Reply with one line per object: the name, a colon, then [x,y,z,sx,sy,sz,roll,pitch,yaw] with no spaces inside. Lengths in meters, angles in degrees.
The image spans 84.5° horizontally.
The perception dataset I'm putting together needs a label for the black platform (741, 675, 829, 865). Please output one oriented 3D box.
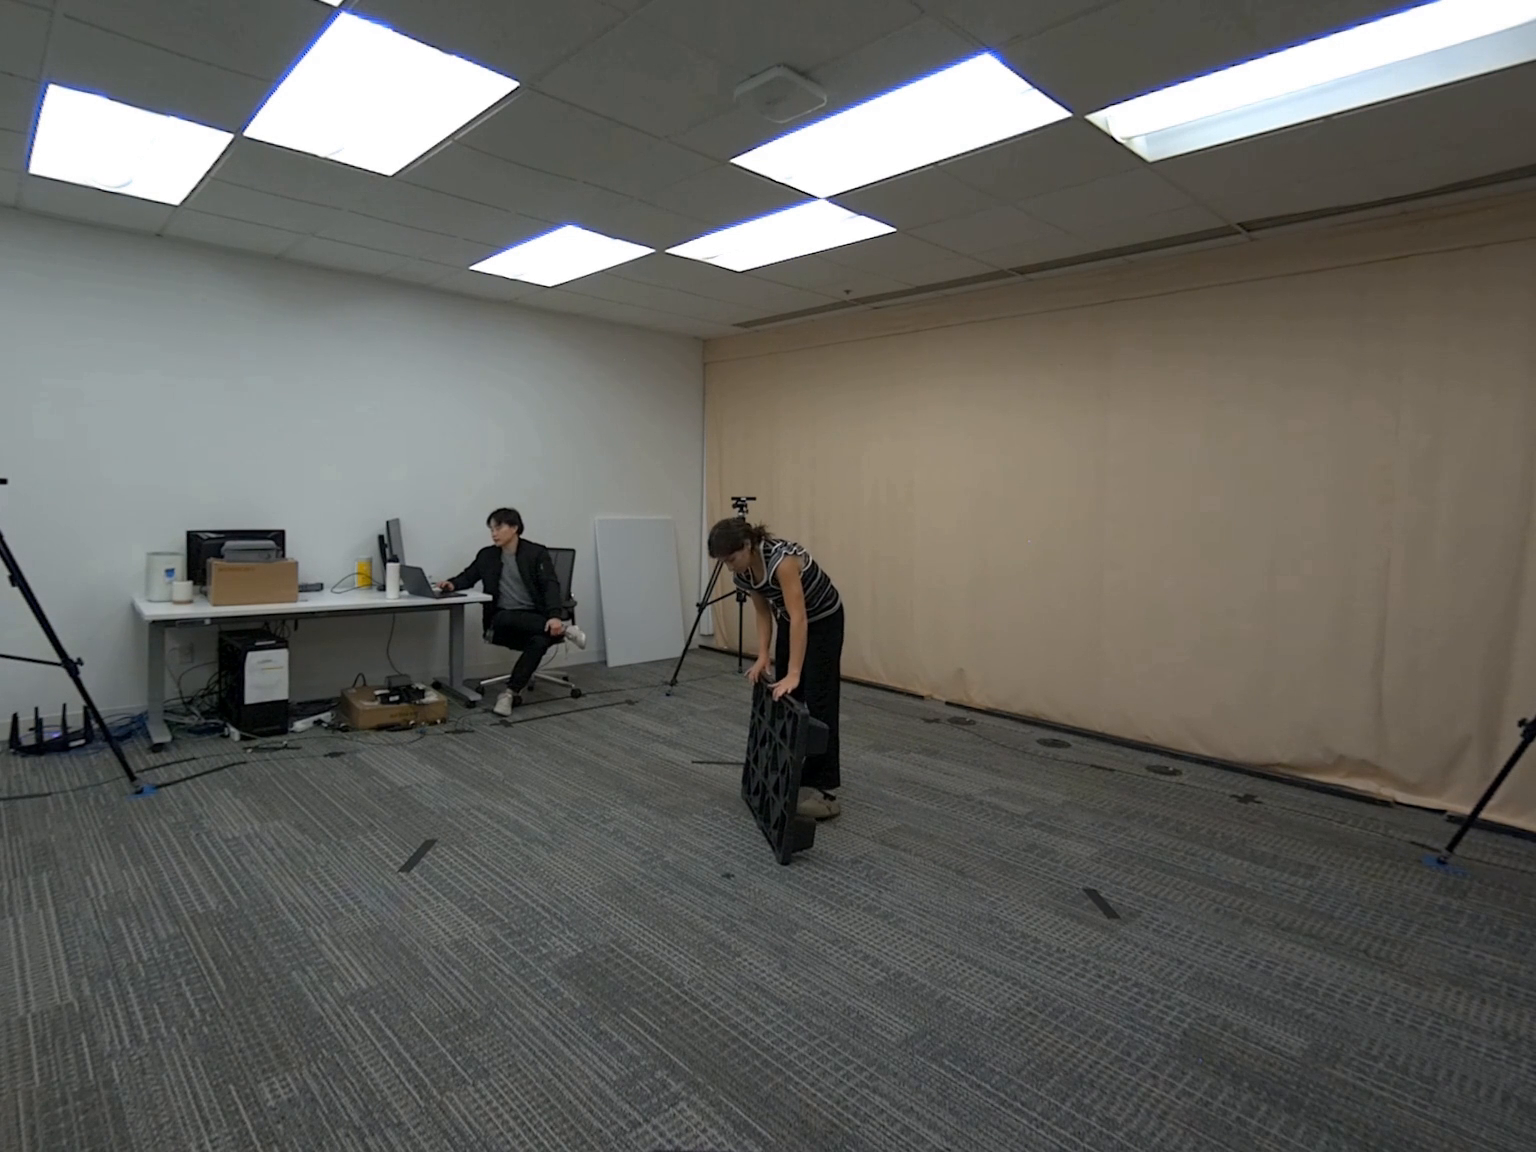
black platform: [0.043,0.768,3.583,0.142,0.604,0.815,7,3,-13]
